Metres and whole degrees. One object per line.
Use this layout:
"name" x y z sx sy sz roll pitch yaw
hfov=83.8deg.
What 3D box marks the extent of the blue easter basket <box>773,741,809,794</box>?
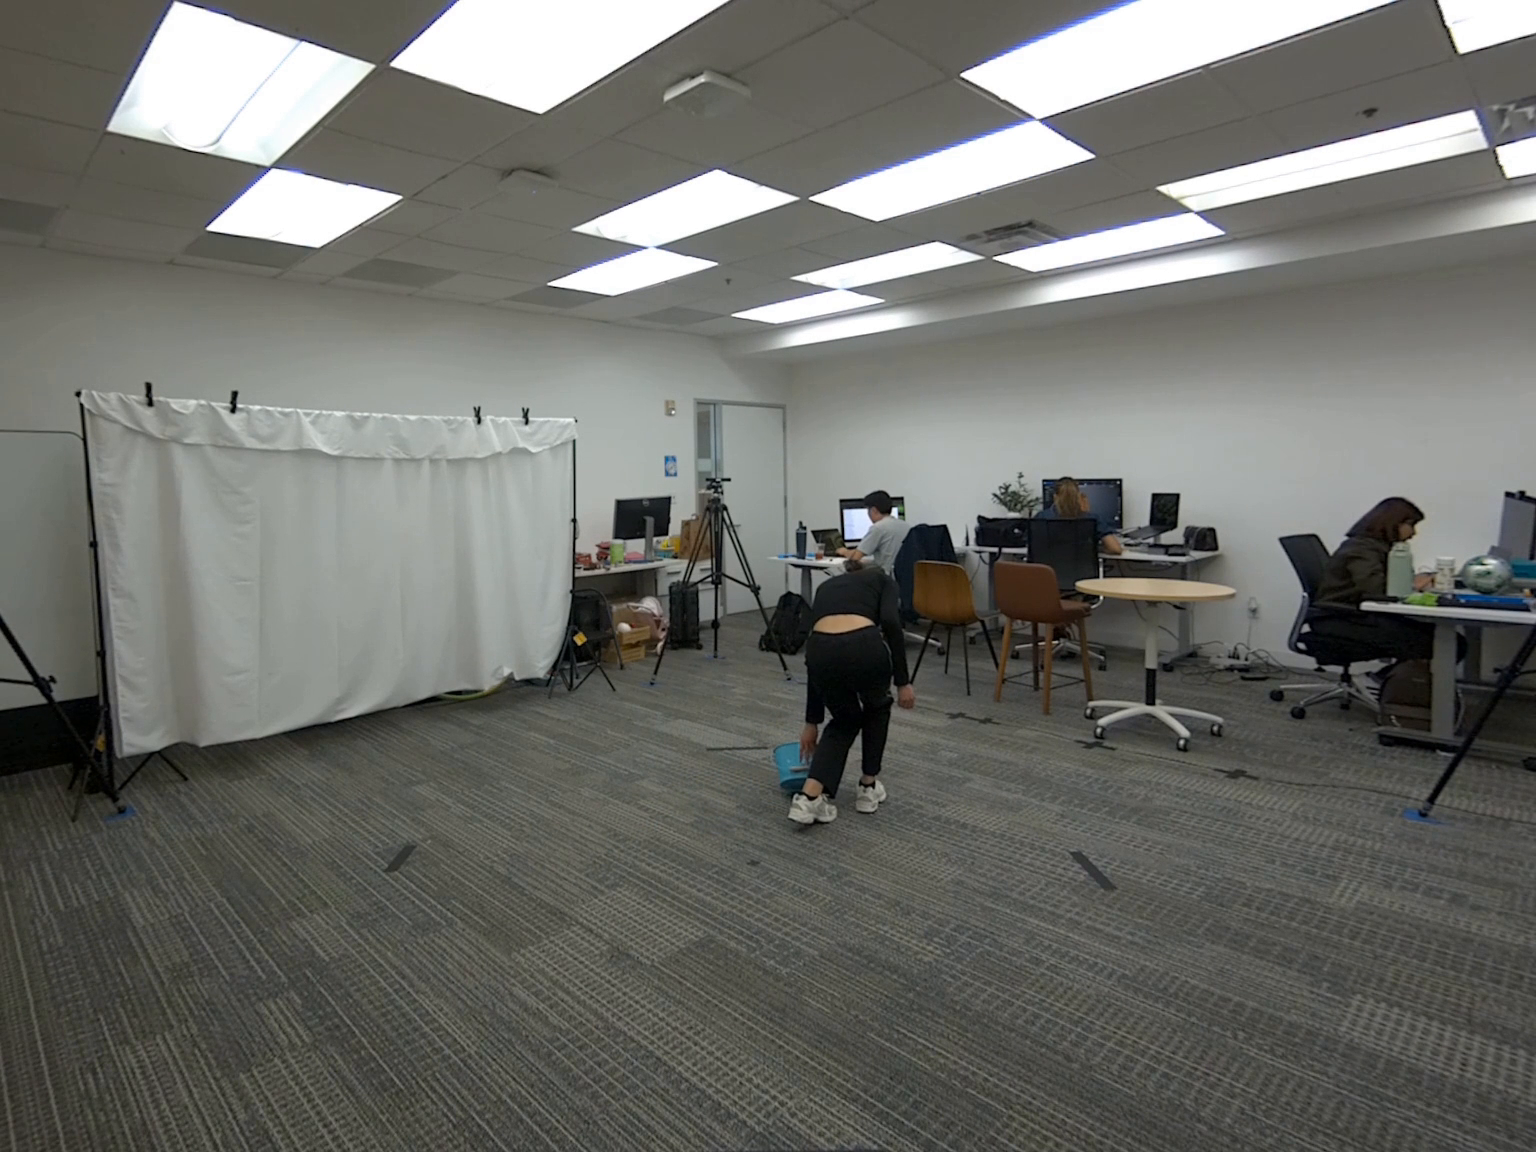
"blue easter basket" 0.142 0.856 3.787 0.243 0.160 0.238 1 -32 -1
